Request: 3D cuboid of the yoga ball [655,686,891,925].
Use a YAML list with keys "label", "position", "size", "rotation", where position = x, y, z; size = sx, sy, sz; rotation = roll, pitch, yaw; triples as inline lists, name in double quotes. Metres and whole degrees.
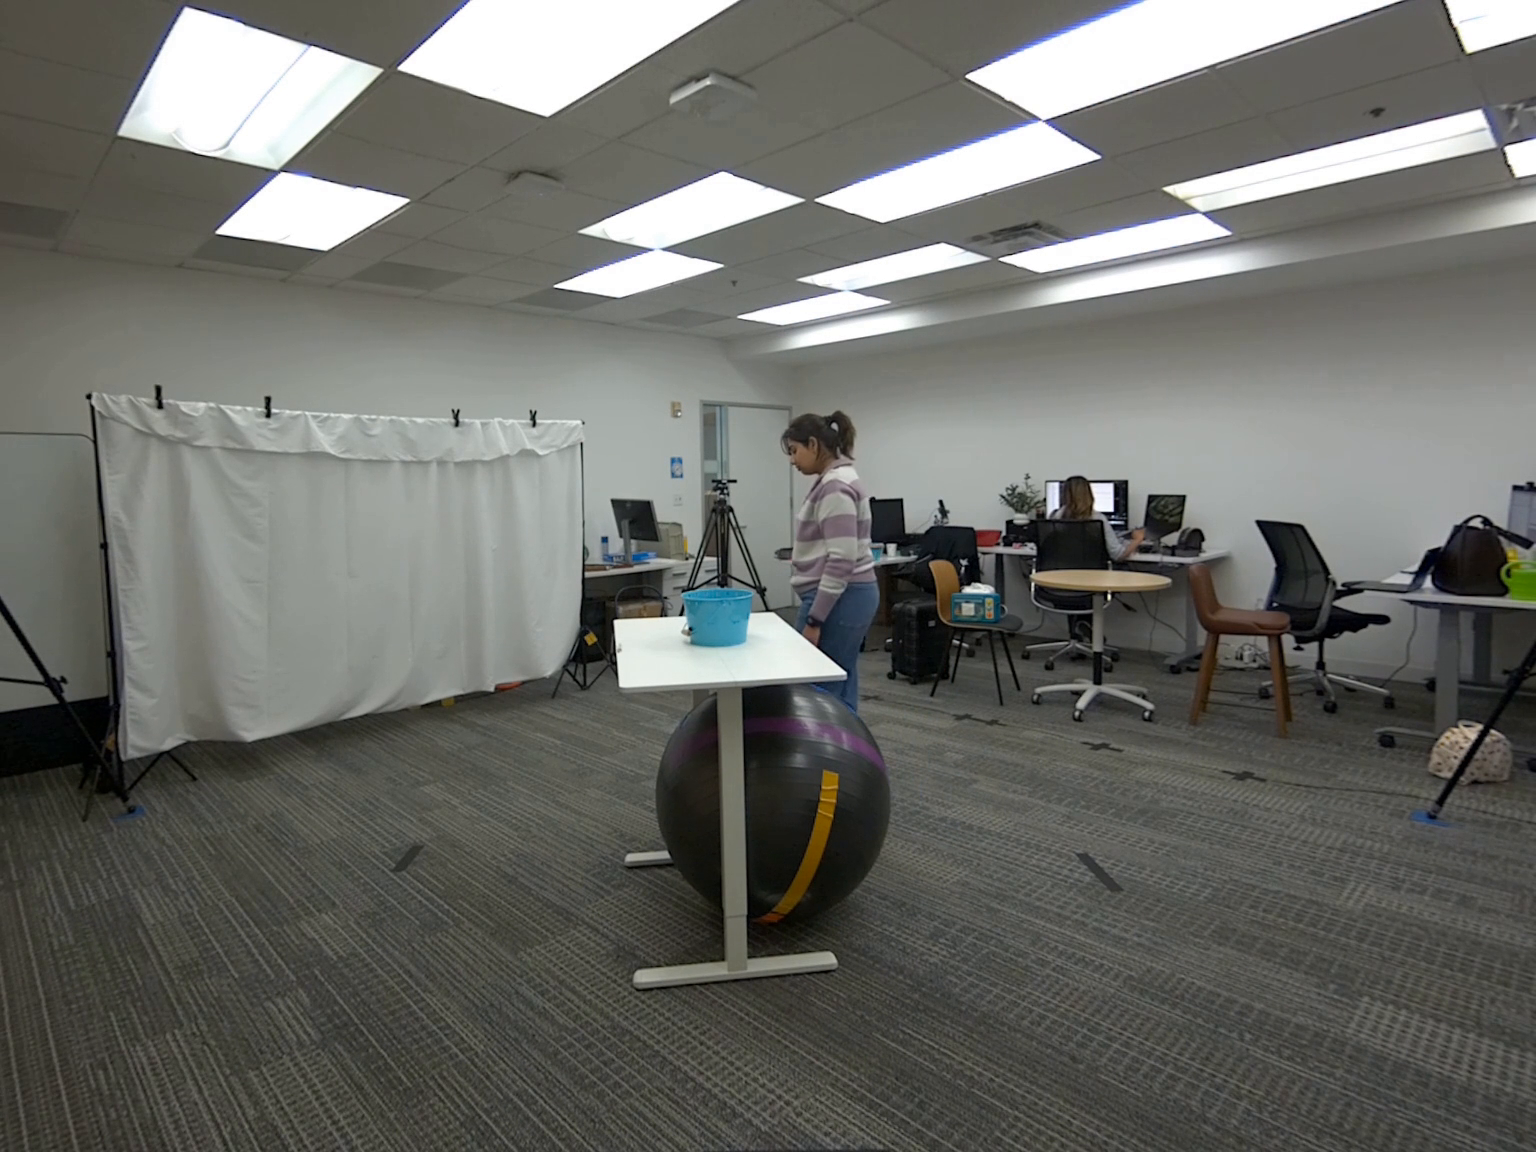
- label: "yoga ball"
  position: [0.018, 0.723, 2.762]
  size: [0.757, 0.755, 0.762]
  rotation: [-1, 5, -2]
